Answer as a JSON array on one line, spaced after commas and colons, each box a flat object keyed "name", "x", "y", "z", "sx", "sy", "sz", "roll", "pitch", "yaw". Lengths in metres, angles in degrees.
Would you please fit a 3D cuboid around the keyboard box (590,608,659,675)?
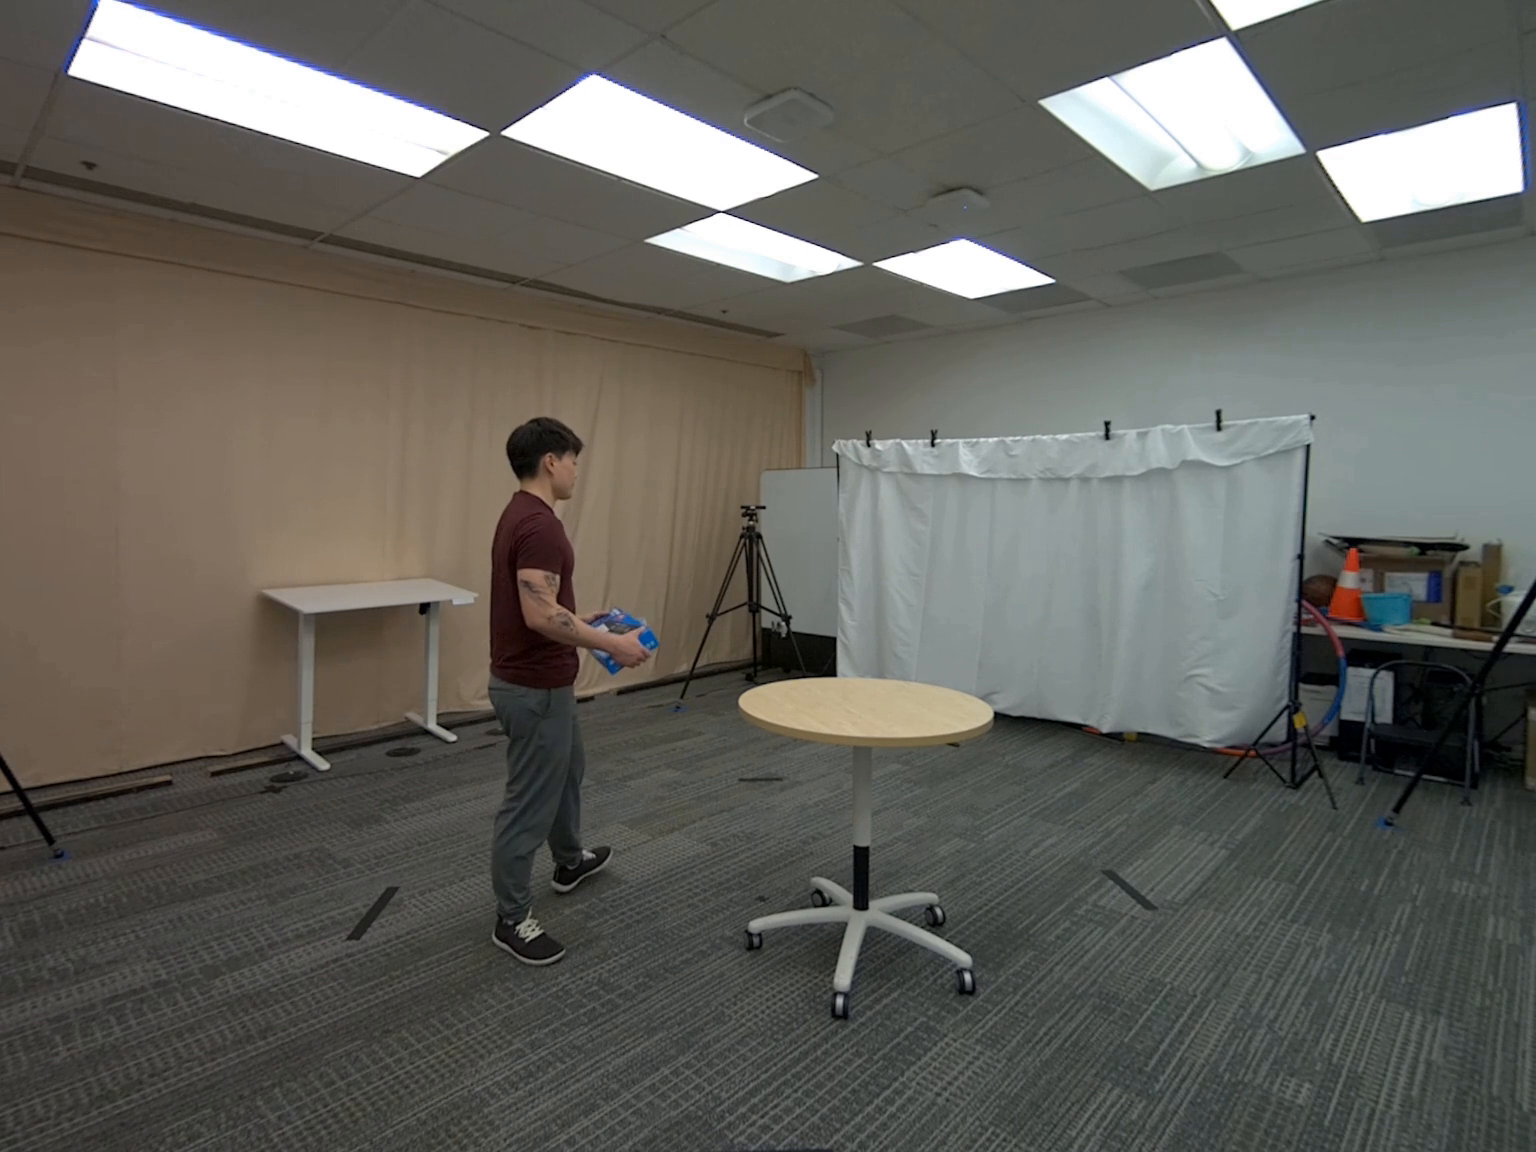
[{"name": "keyboard box", "x": -0.505, "y": 0.202, "z": 2.759, "sx": 0.174, "sy": 0.058, "sz": 0.448, "roll": -31, "pitch": 19, "yaw": -16}]
